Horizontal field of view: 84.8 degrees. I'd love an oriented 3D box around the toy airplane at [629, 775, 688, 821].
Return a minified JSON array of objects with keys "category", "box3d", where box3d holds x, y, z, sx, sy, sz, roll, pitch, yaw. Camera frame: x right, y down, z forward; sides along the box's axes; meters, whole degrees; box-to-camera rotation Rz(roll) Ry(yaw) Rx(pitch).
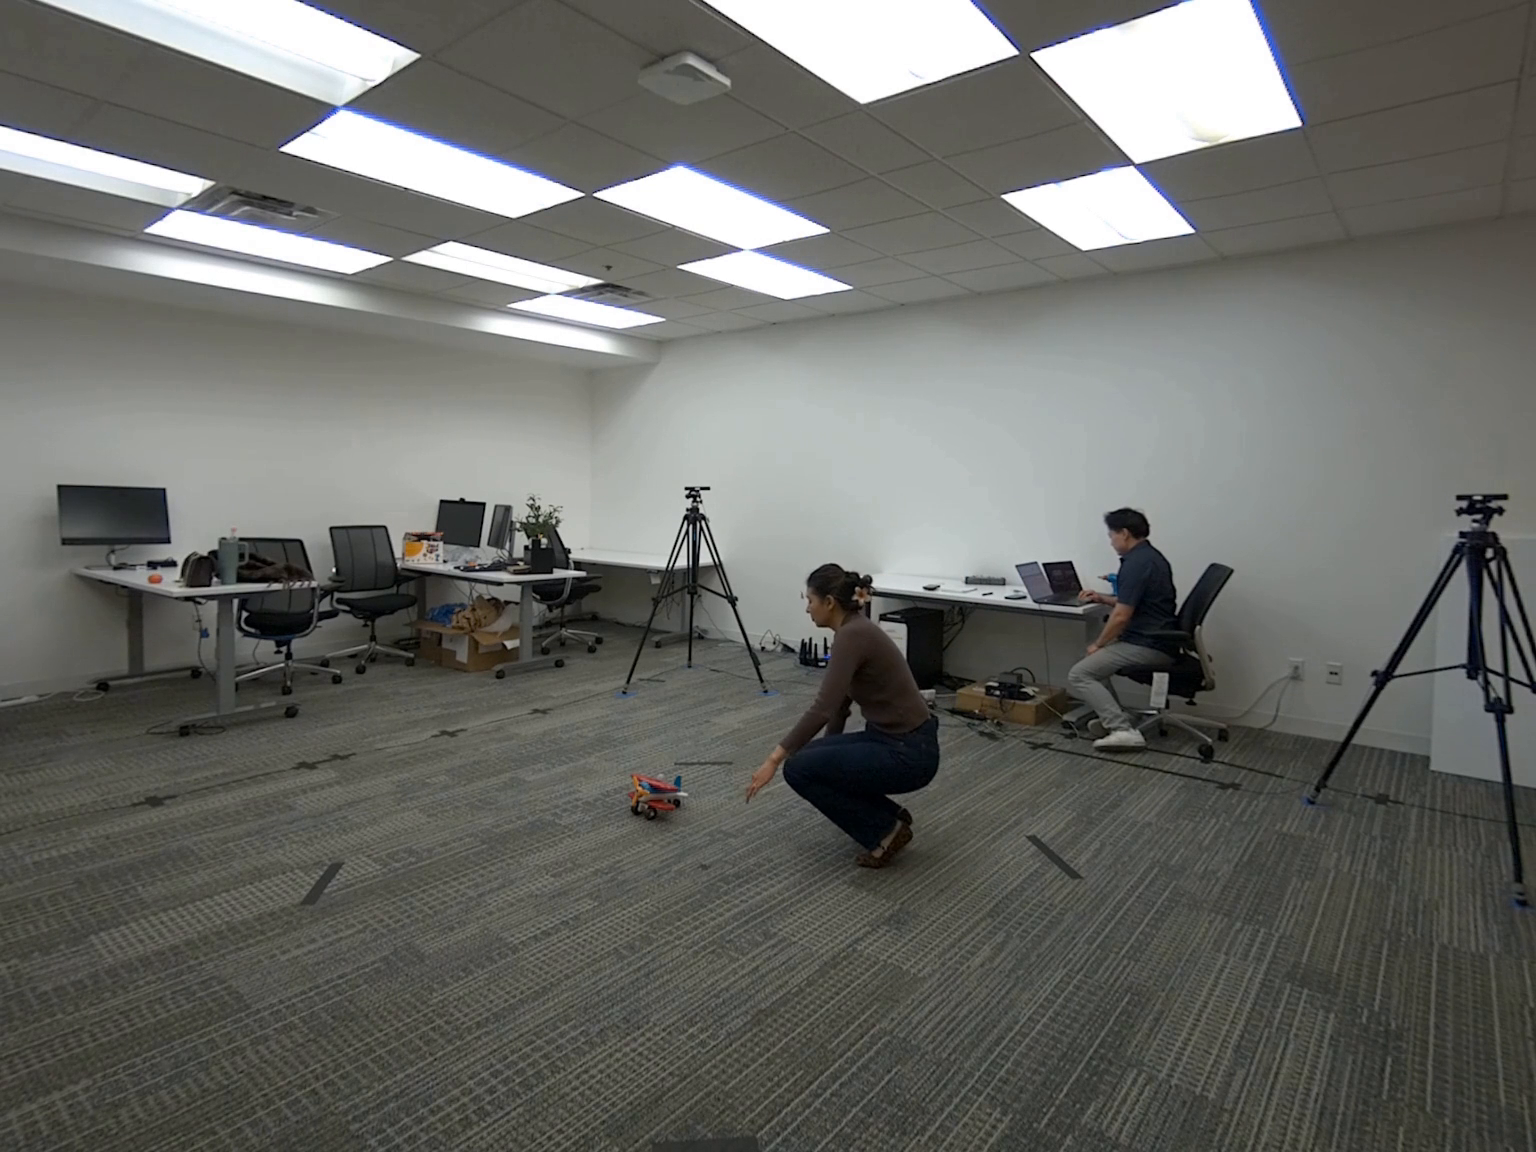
[{"category":"toy airplane","box3d":[-0.499,0.936,3.658,0.255,0.155,0.257,-1,7,13]}]
